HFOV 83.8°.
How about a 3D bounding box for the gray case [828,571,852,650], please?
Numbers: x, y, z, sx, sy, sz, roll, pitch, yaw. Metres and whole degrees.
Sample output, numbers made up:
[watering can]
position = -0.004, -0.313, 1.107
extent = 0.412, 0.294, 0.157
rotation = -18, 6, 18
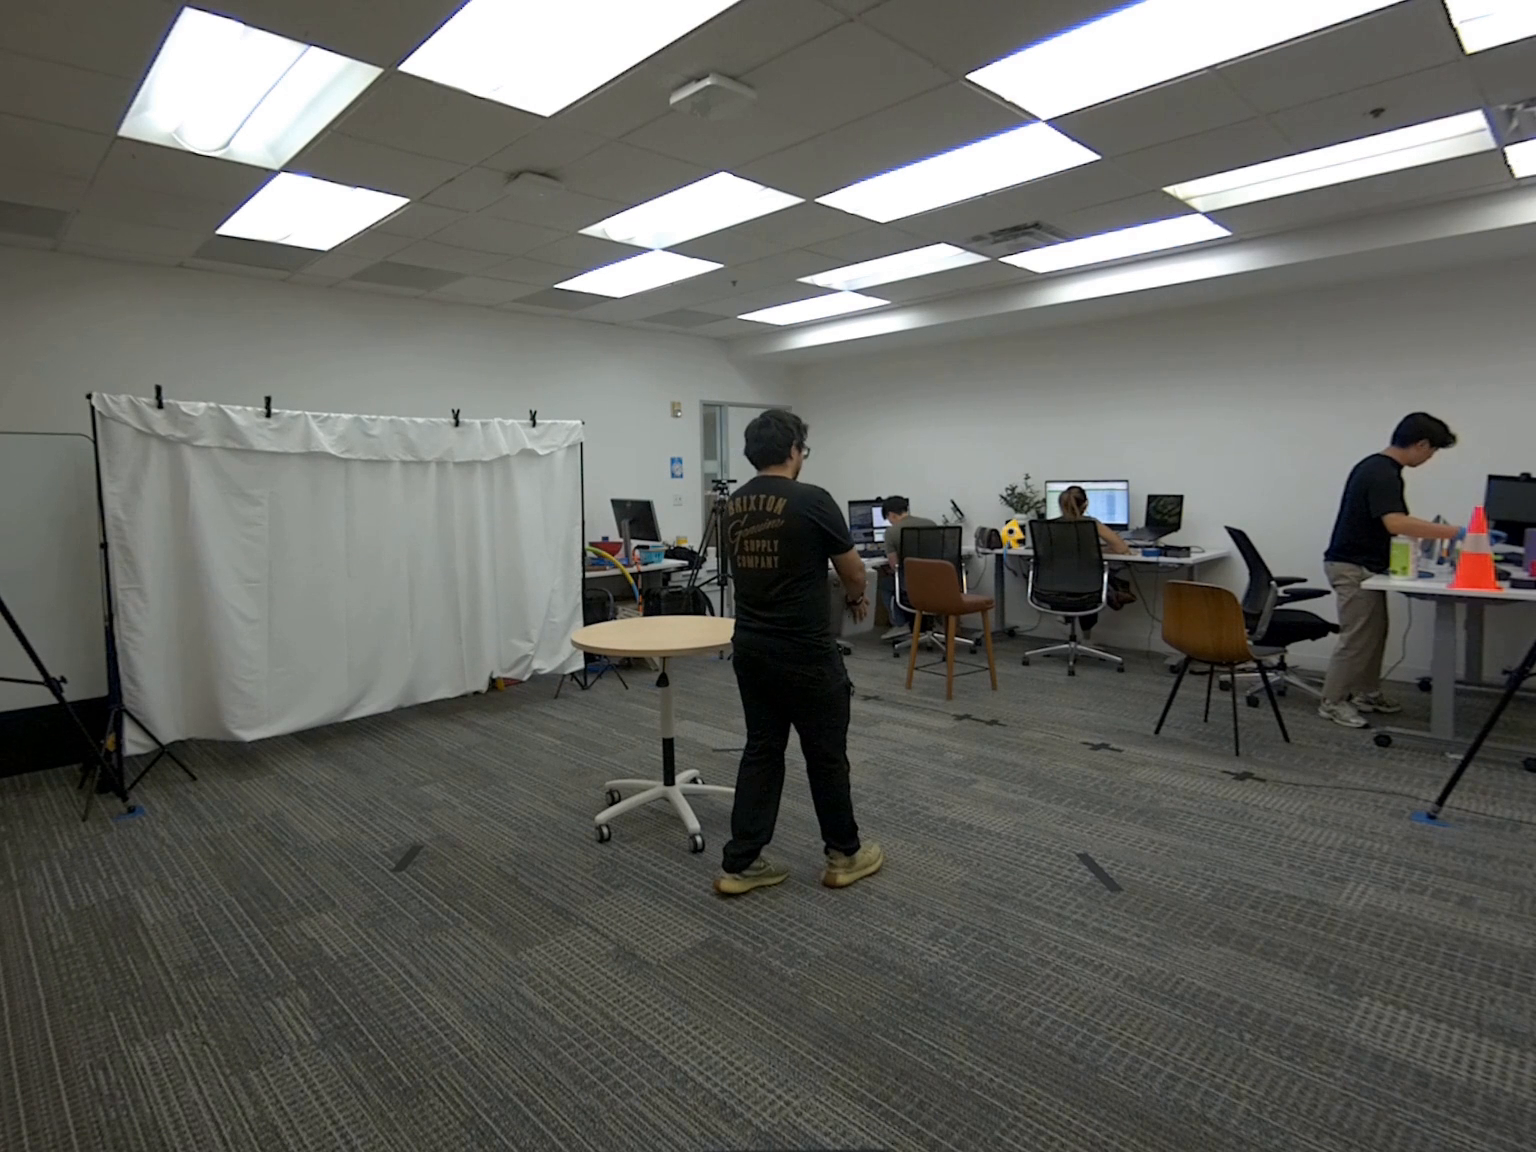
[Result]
[gray case]
position = 0.332, 0.093, 3.255
extent = 0.107, 0.259, 0.250
rotation = 7, 8, 34
